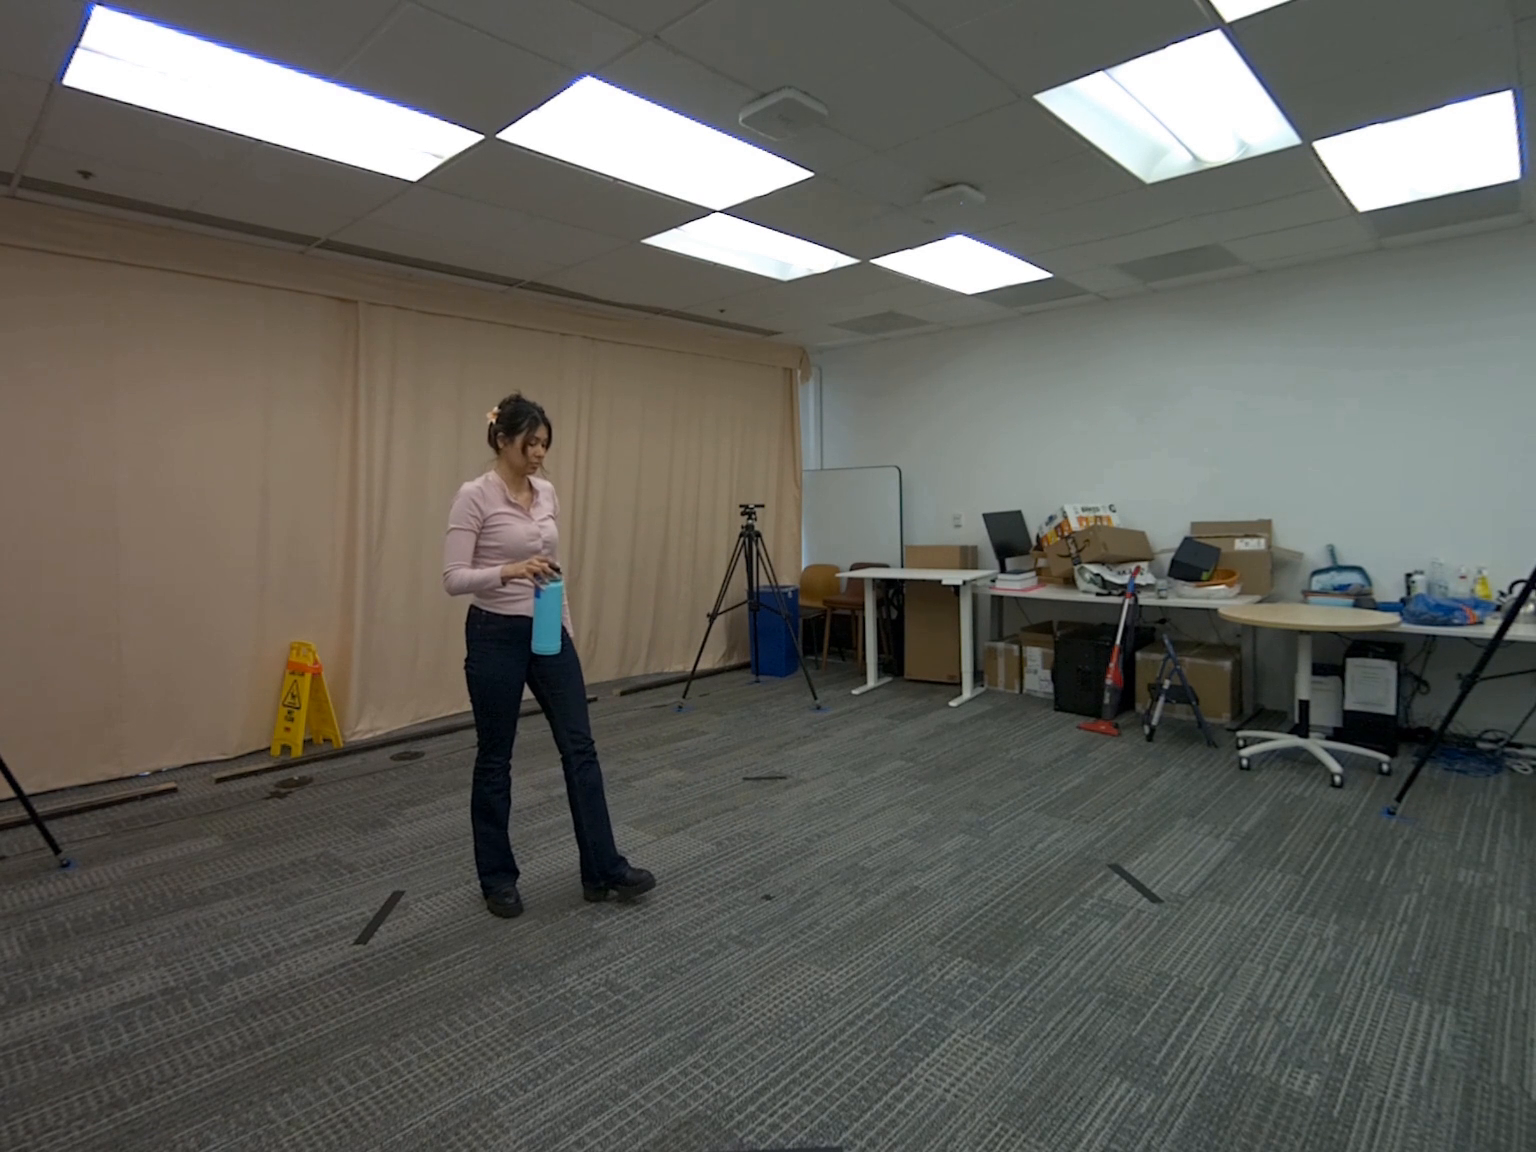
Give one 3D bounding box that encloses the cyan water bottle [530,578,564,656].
[{"bbox_3d":[-0.691,0.098,2.618,0.092,0.282,0.093,4,6,-2],"label":"cyan water bottle"}]
